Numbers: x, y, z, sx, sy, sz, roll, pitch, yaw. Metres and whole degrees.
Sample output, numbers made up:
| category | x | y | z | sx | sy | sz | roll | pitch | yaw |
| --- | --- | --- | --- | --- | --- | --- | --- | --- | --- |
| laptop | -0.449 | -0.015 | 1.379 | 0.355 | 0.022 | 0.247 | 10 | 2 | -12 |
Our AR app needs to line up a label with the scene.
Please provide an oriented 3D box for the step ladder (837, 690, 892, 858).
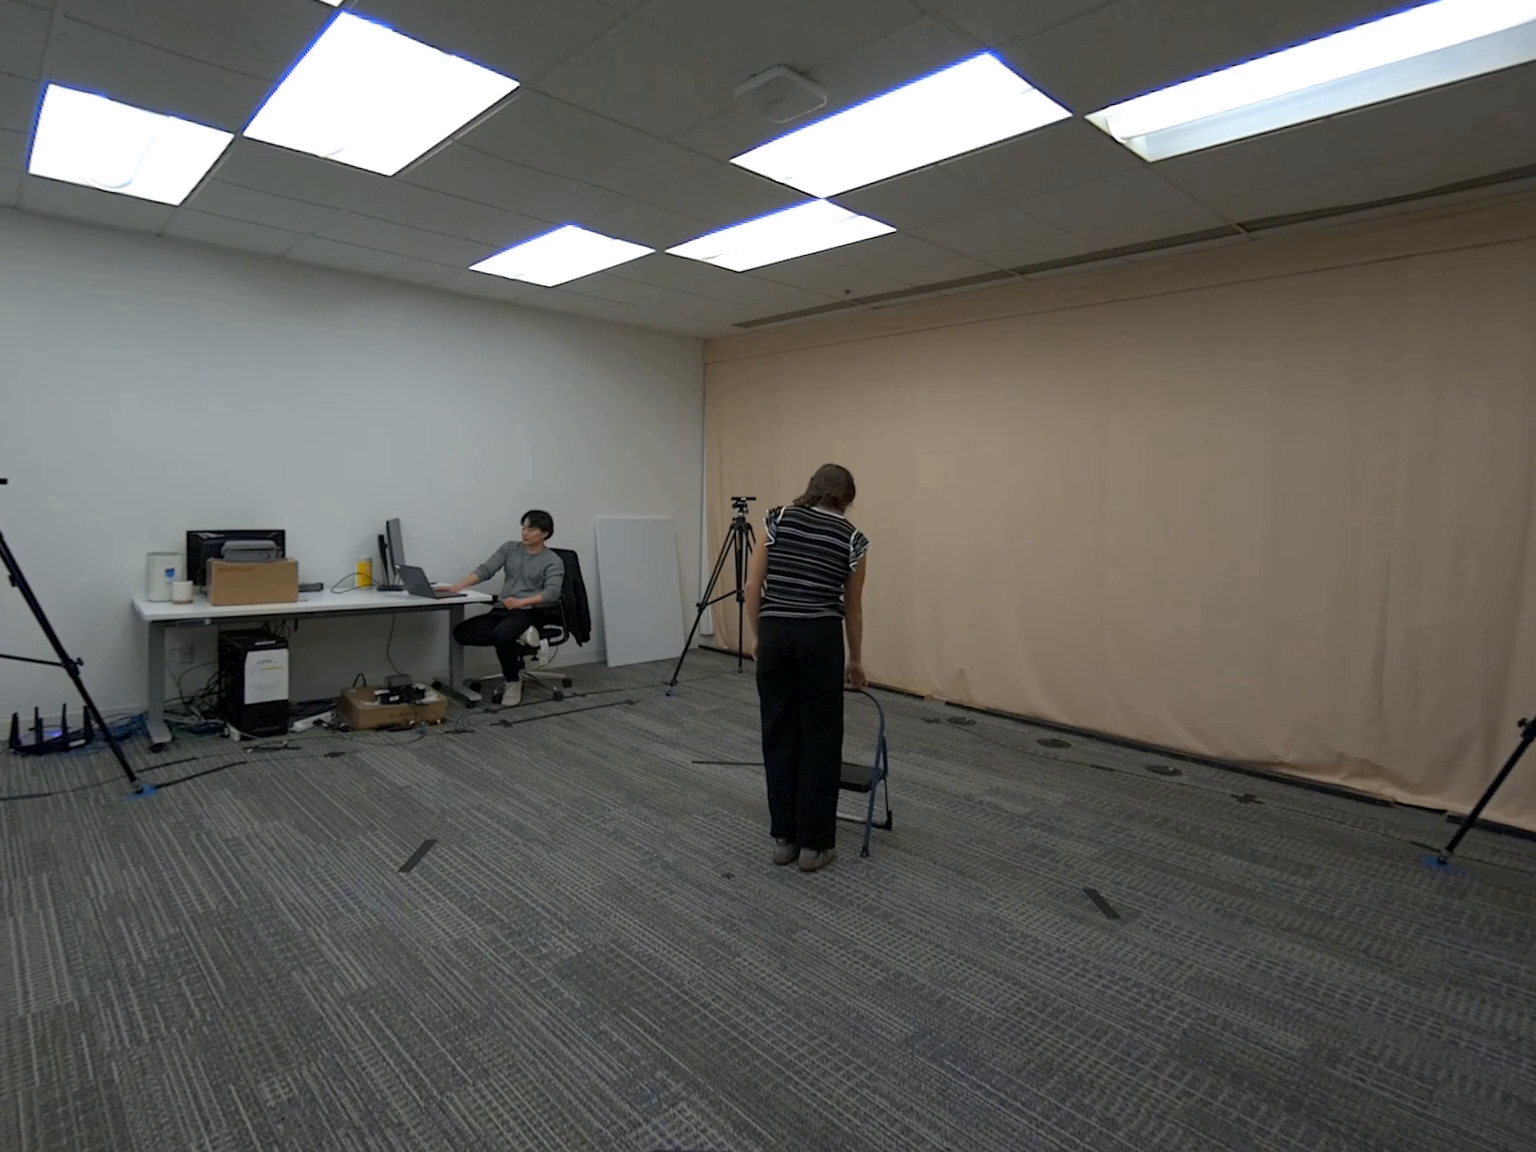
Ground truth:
| category | x | y | z | sx | sy | sz | roll | pitch | yaw |
| --- | --- | --- | --- | --- | --- | --- | --- | --- | --- |
| step ladder | 0.277 | 0.779 | 3.537 | 0.439 | 0.605 | 0.343 | 3 | 3 | 28 |
